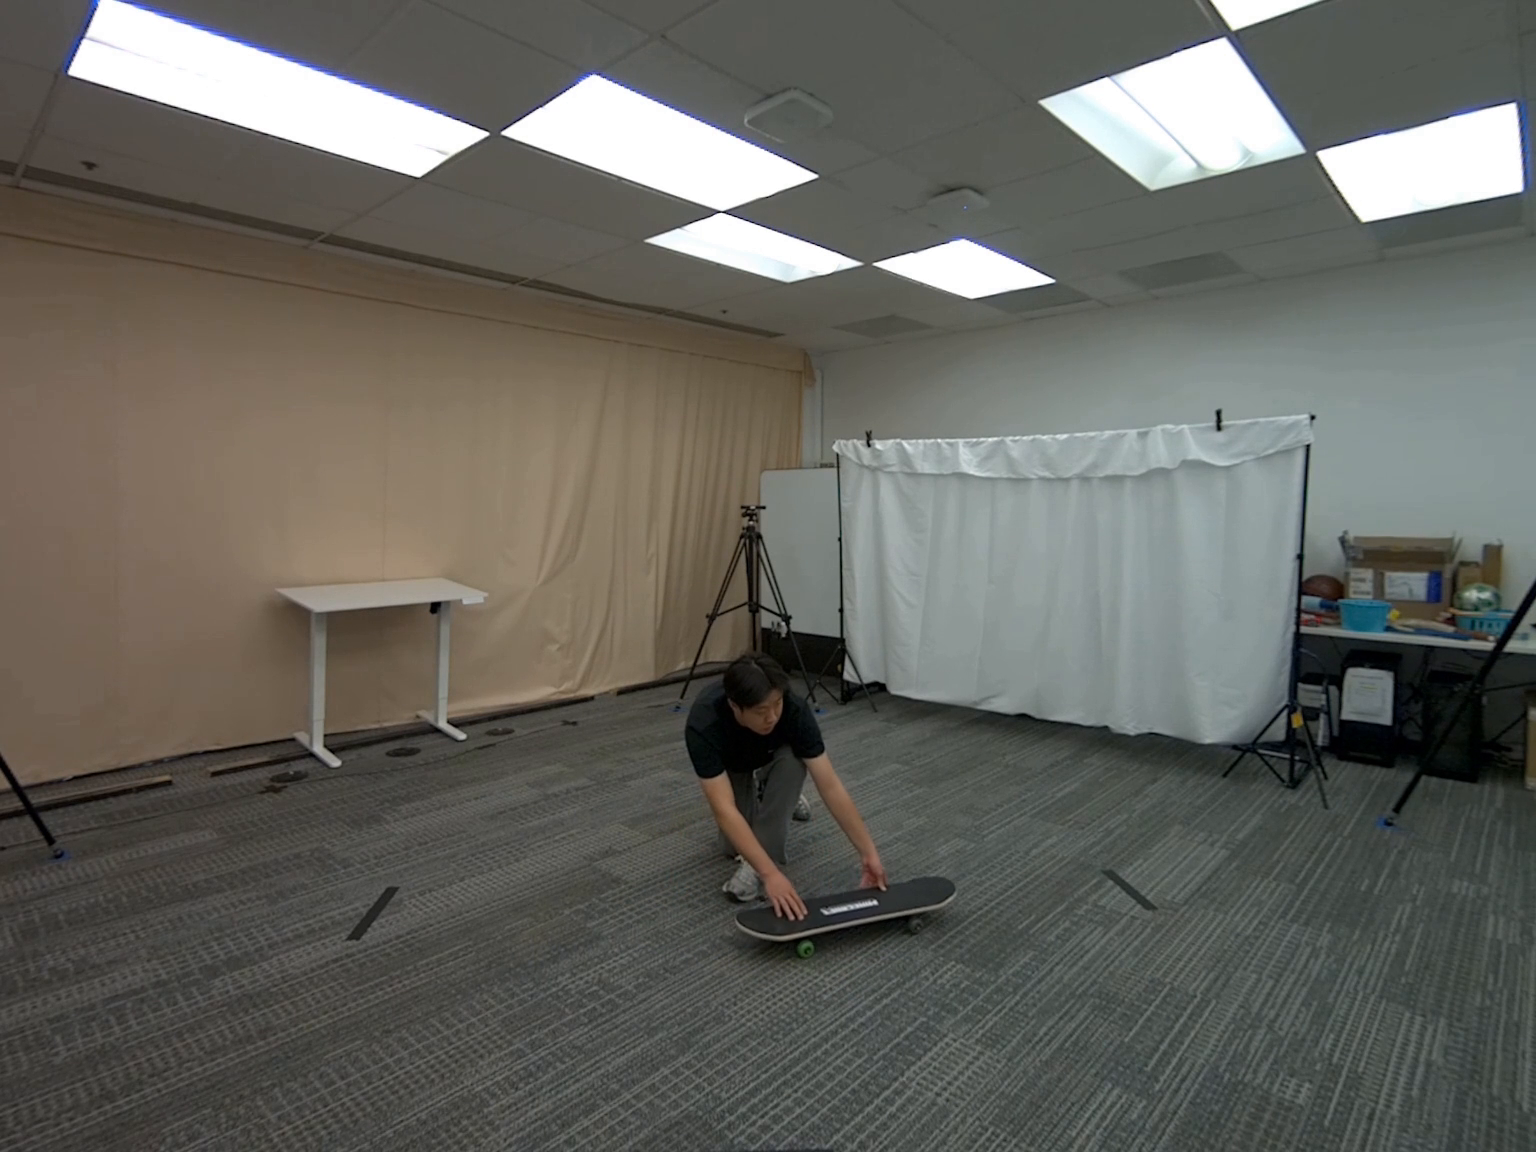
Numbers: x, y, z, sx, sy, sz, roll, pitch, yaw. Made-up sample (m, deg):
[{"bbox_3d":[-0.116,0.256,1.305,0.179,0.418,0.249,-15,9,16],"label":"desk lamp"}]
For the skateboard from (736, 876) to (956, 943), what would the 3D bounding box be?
[{"bbox_3d":[0.267,1.103,2.733,0.769,0.110,0.198,-2,4,-21],"label":"skateboard"}]
